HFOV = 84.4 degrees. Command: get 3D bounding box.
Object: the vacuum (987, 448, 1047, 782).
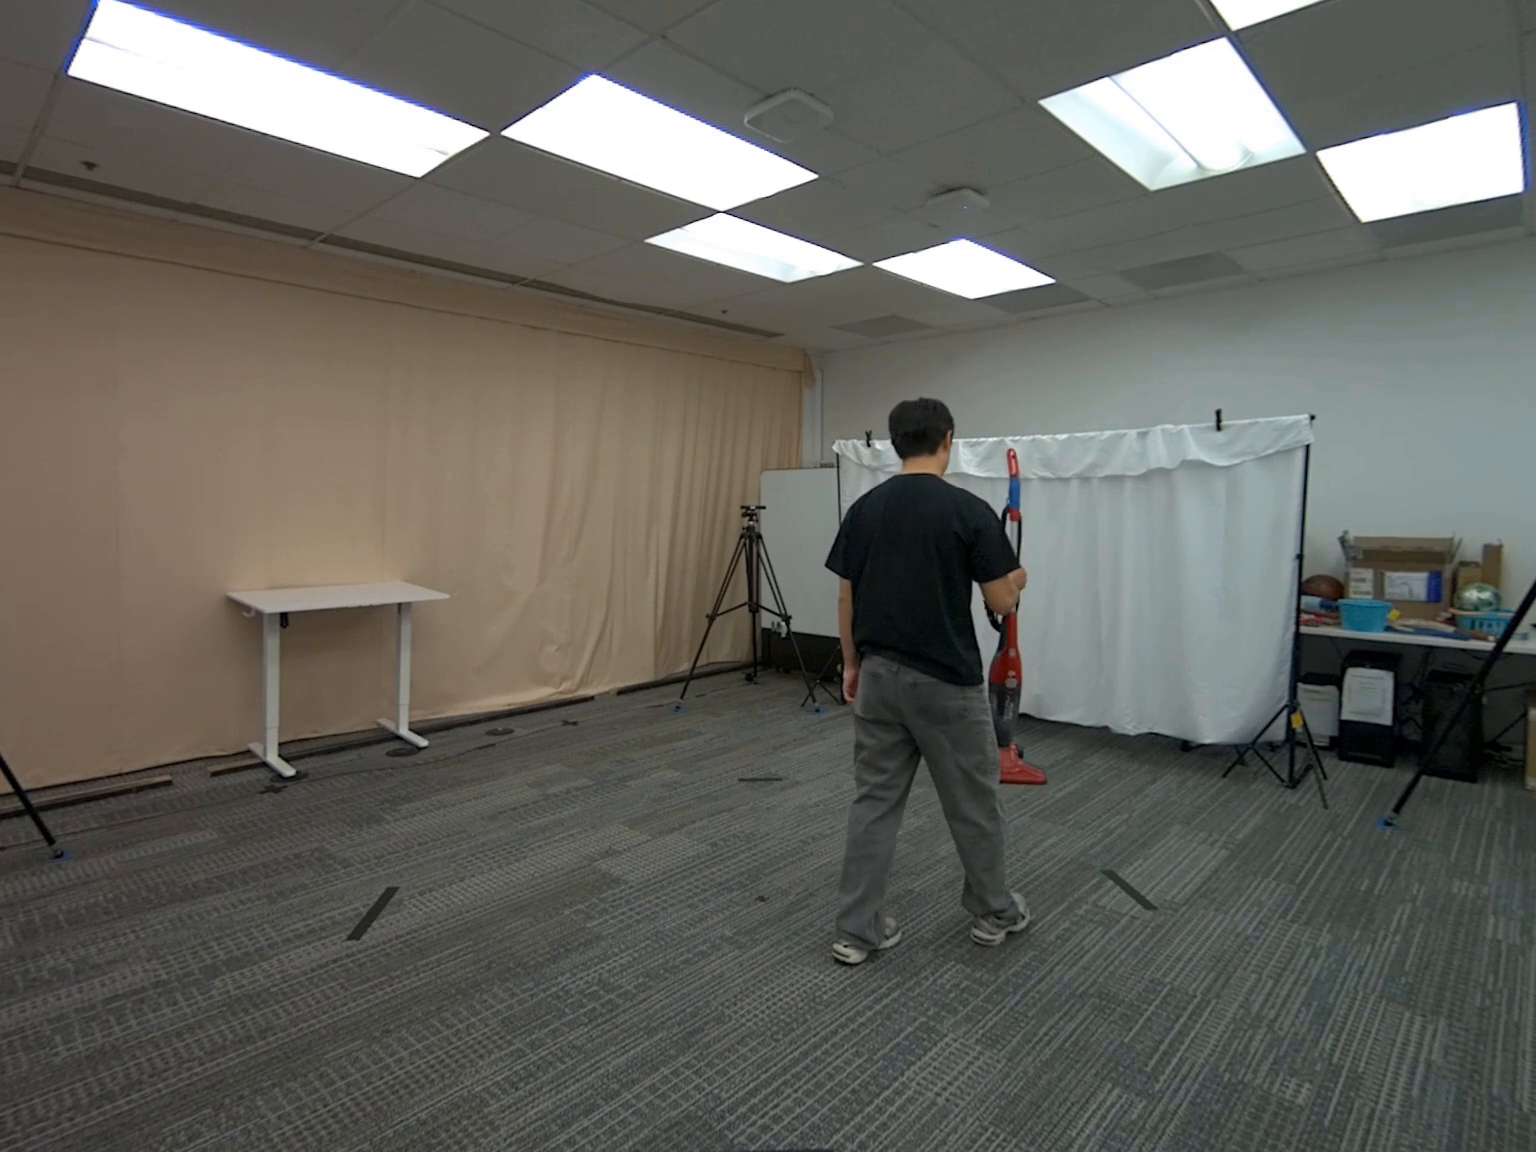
[{"bbox_3d":[0.819,0.107,2.819,0.255,1.049,0.143,1,0,8],"label":"vacuum"}]
